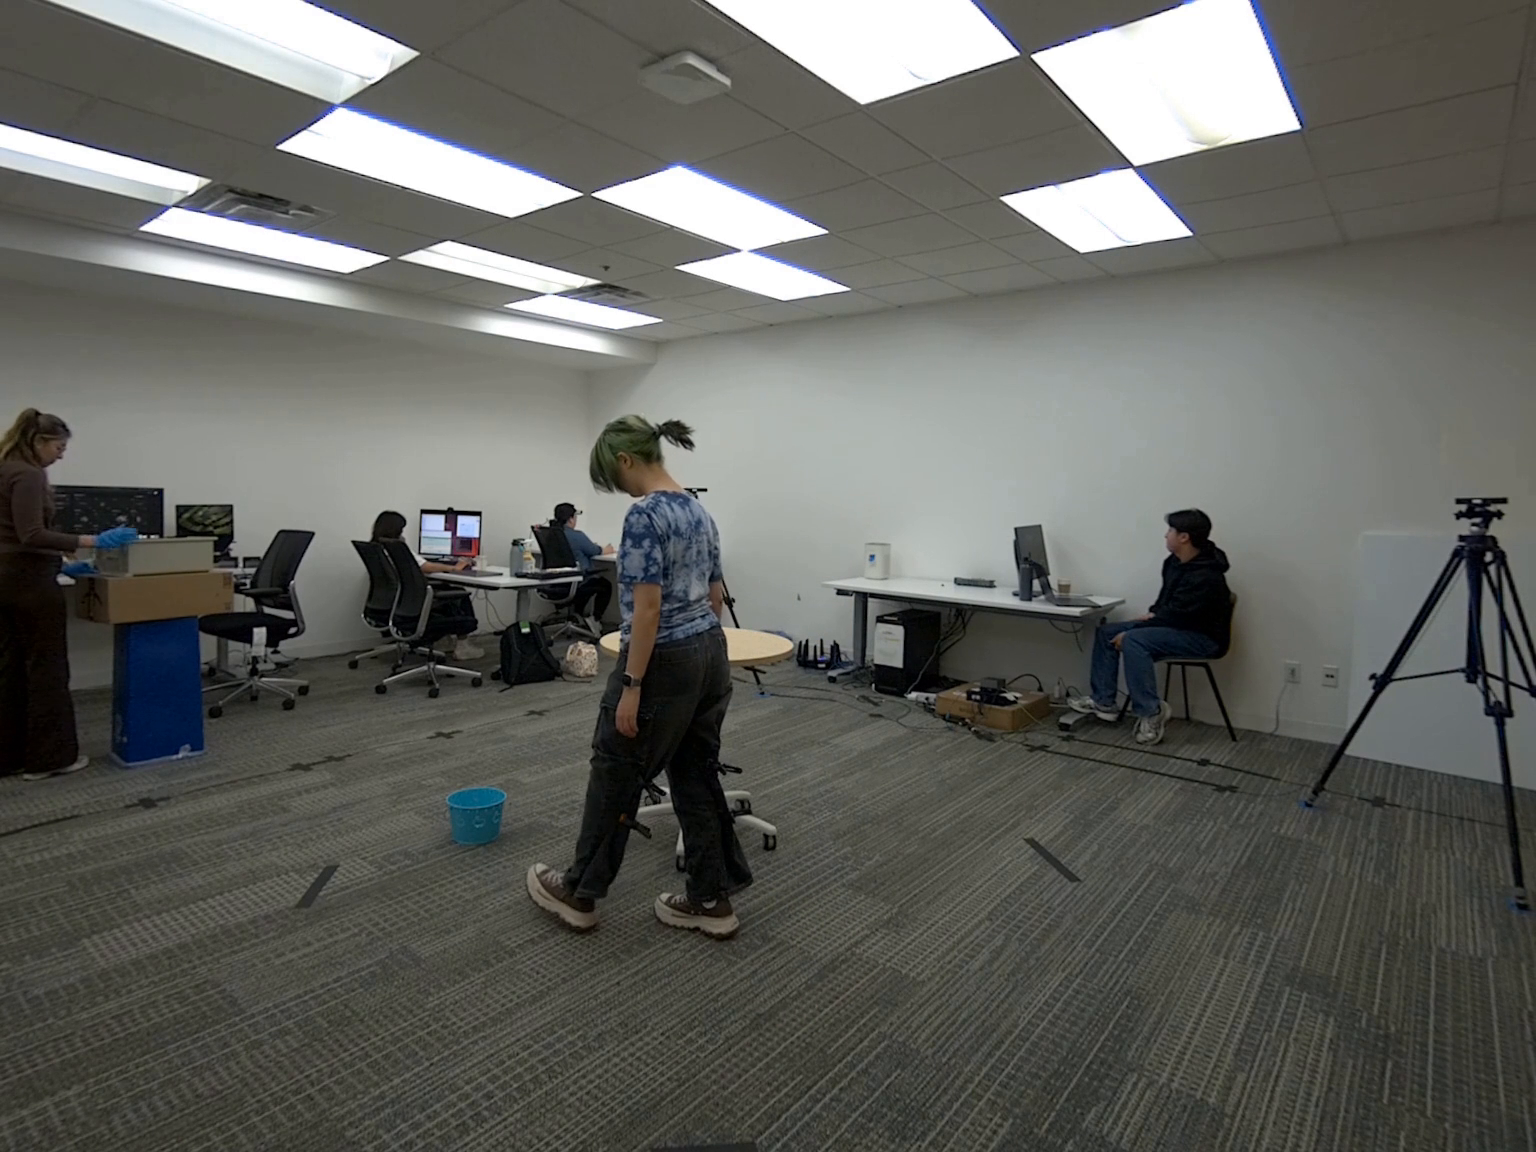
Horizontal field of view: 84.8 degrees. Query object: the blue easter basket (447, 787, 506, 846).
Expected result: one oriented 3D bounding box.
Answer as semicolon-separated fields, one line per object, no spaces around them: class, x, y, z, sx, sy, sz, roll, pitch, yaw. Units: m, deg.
blue easter basket;-1.172;0.951;3.385;0.243;0.155;0.245;1;5;-2
